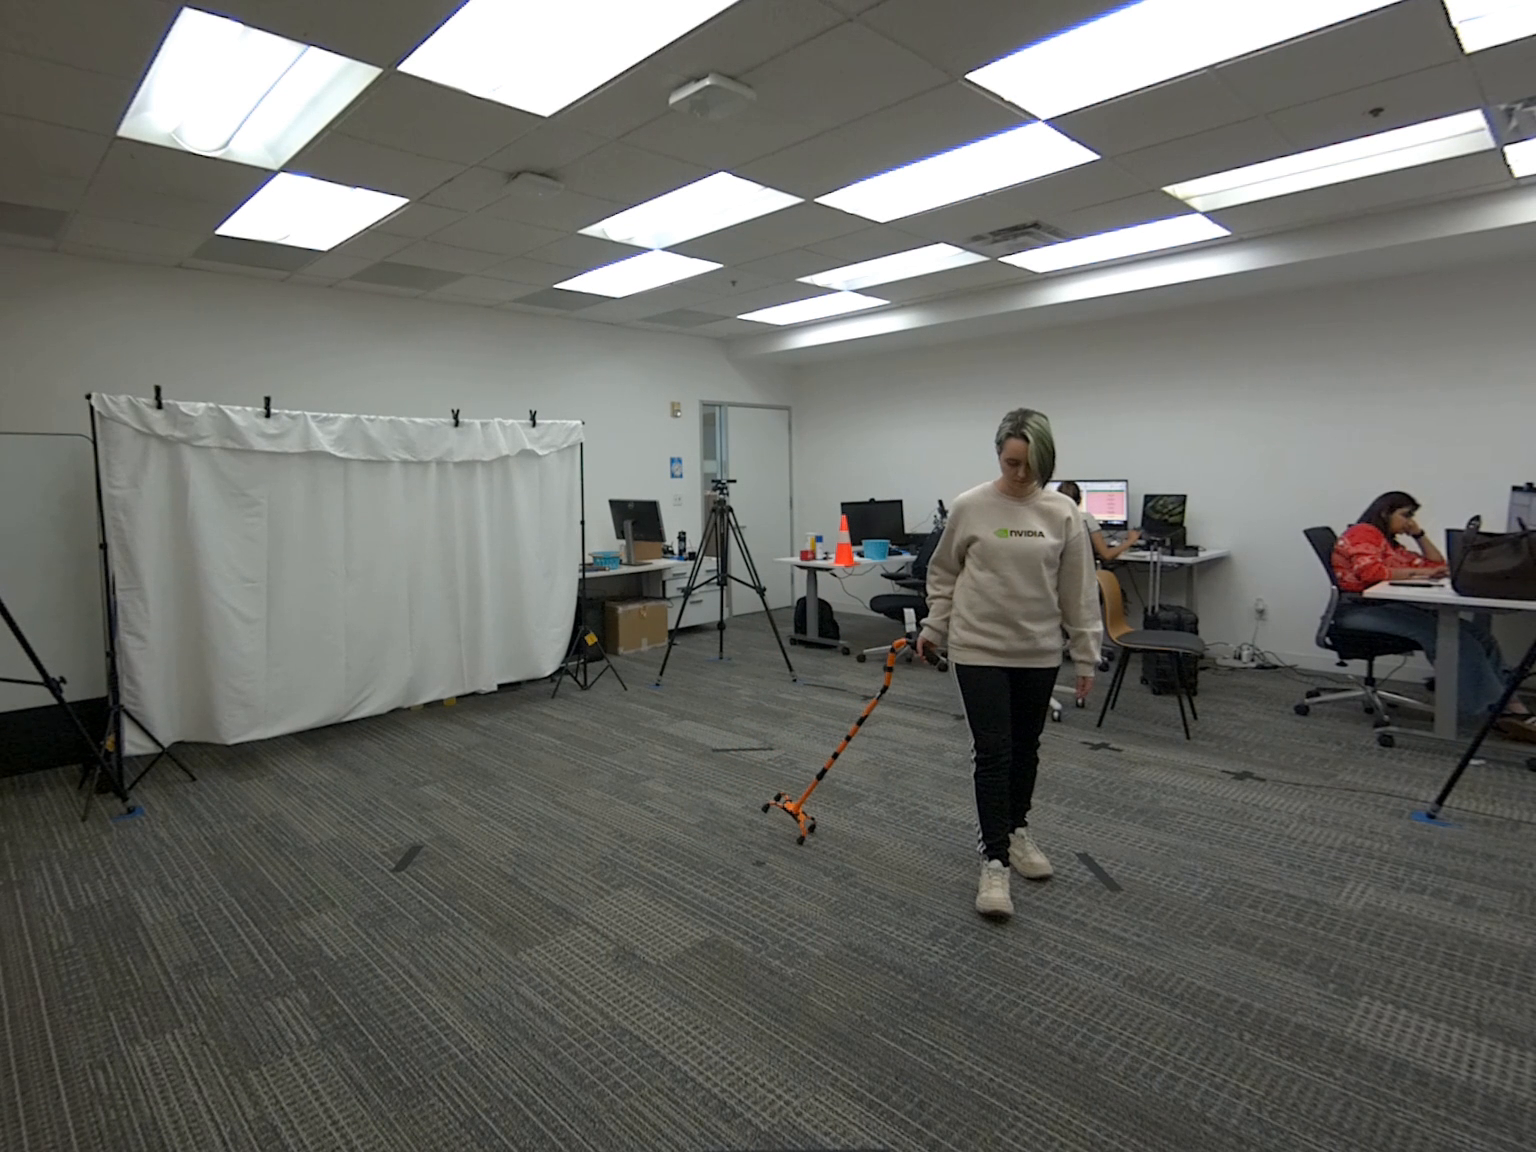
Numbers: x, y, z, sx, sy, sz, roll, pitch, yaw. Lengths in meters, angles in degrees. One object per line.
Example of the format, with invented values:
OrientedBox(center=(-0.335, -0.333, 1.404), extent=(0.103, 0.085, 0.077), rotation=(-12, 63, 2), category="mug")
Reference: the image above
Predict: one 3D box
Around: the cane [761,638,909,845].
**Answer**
OrientedBox(center=(0.305, 0.605, 3.214), extent=(0.212, 0.903, 0.148), rotation=(39, 20, 20), category="cane")
